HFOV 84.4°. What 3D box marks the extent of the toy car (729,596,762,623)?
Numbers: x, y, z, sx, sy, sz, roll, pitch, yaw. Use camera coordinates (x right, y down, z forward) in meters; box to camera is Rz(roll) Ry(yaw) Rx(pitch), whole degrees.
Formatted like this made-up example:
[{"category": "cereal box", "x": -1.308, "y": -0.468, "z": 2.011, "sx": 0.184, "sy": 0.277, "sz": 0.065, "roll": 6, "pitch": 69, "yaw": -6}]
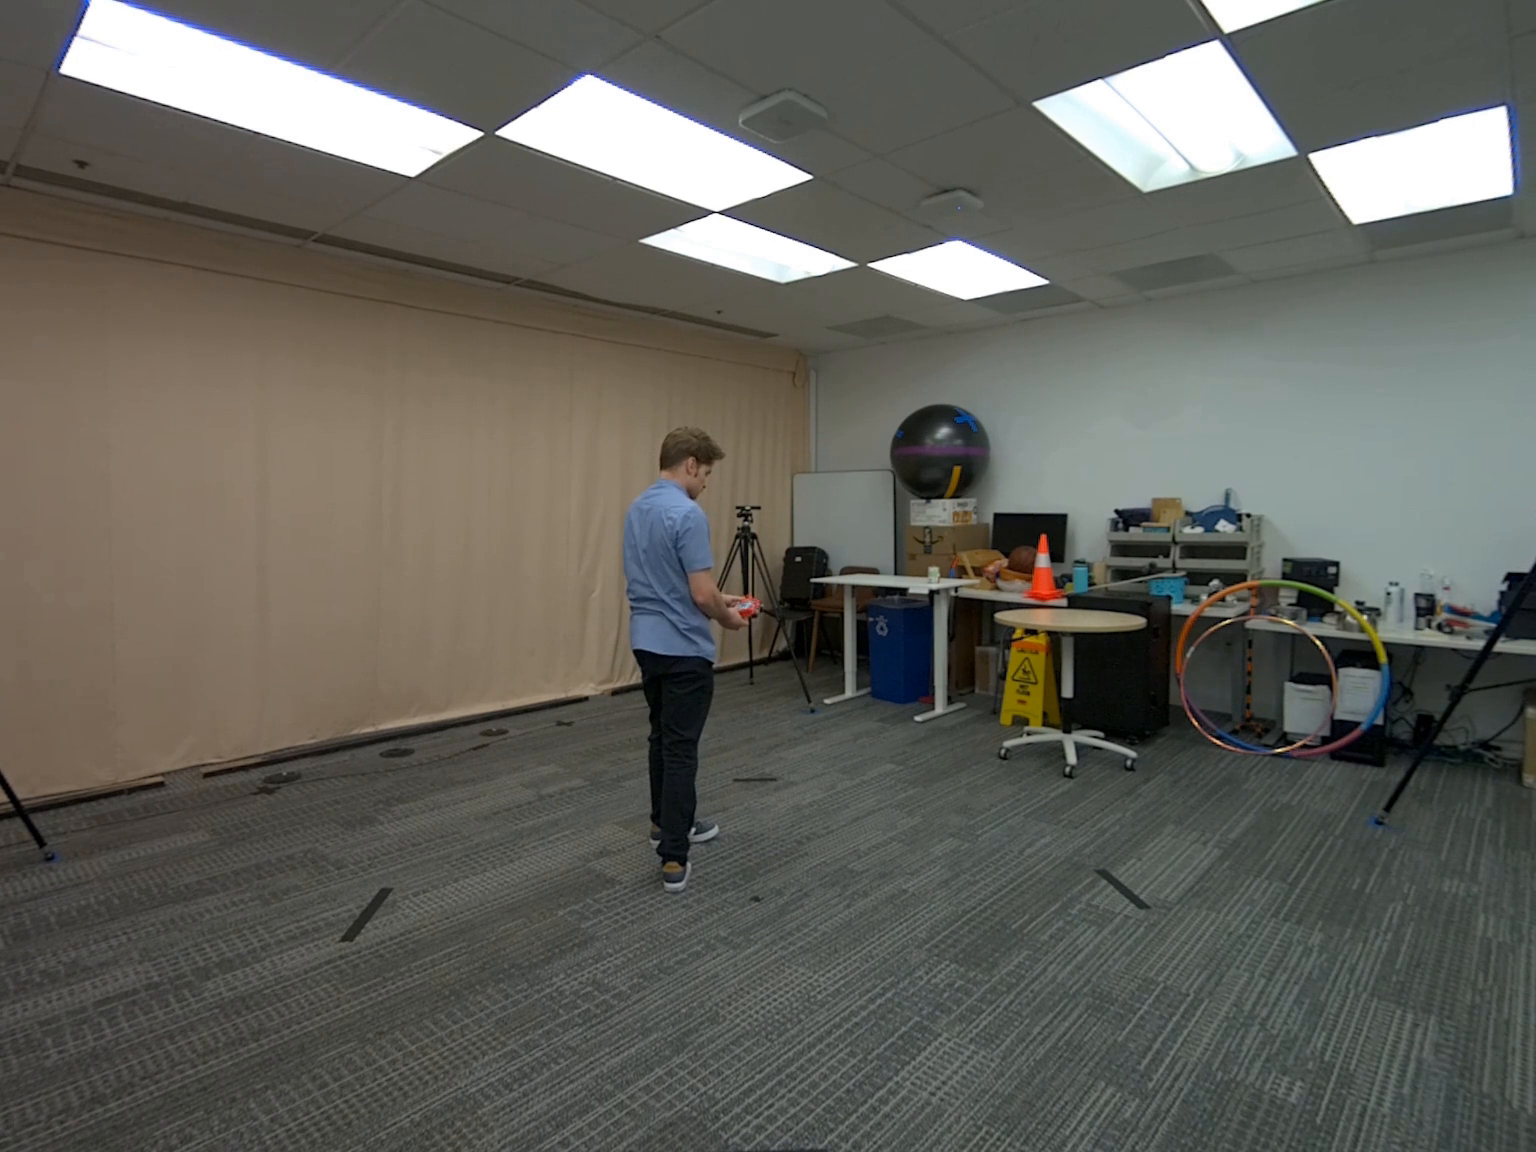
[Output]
[{"category": "toy car", "x": -0.092, "y": 0.140, "z": 3.474, "sx": 0.131, "sy": 0.082, "sz": 0.255, "roll": -16, "pitch": 14, "yaw": 9}]
